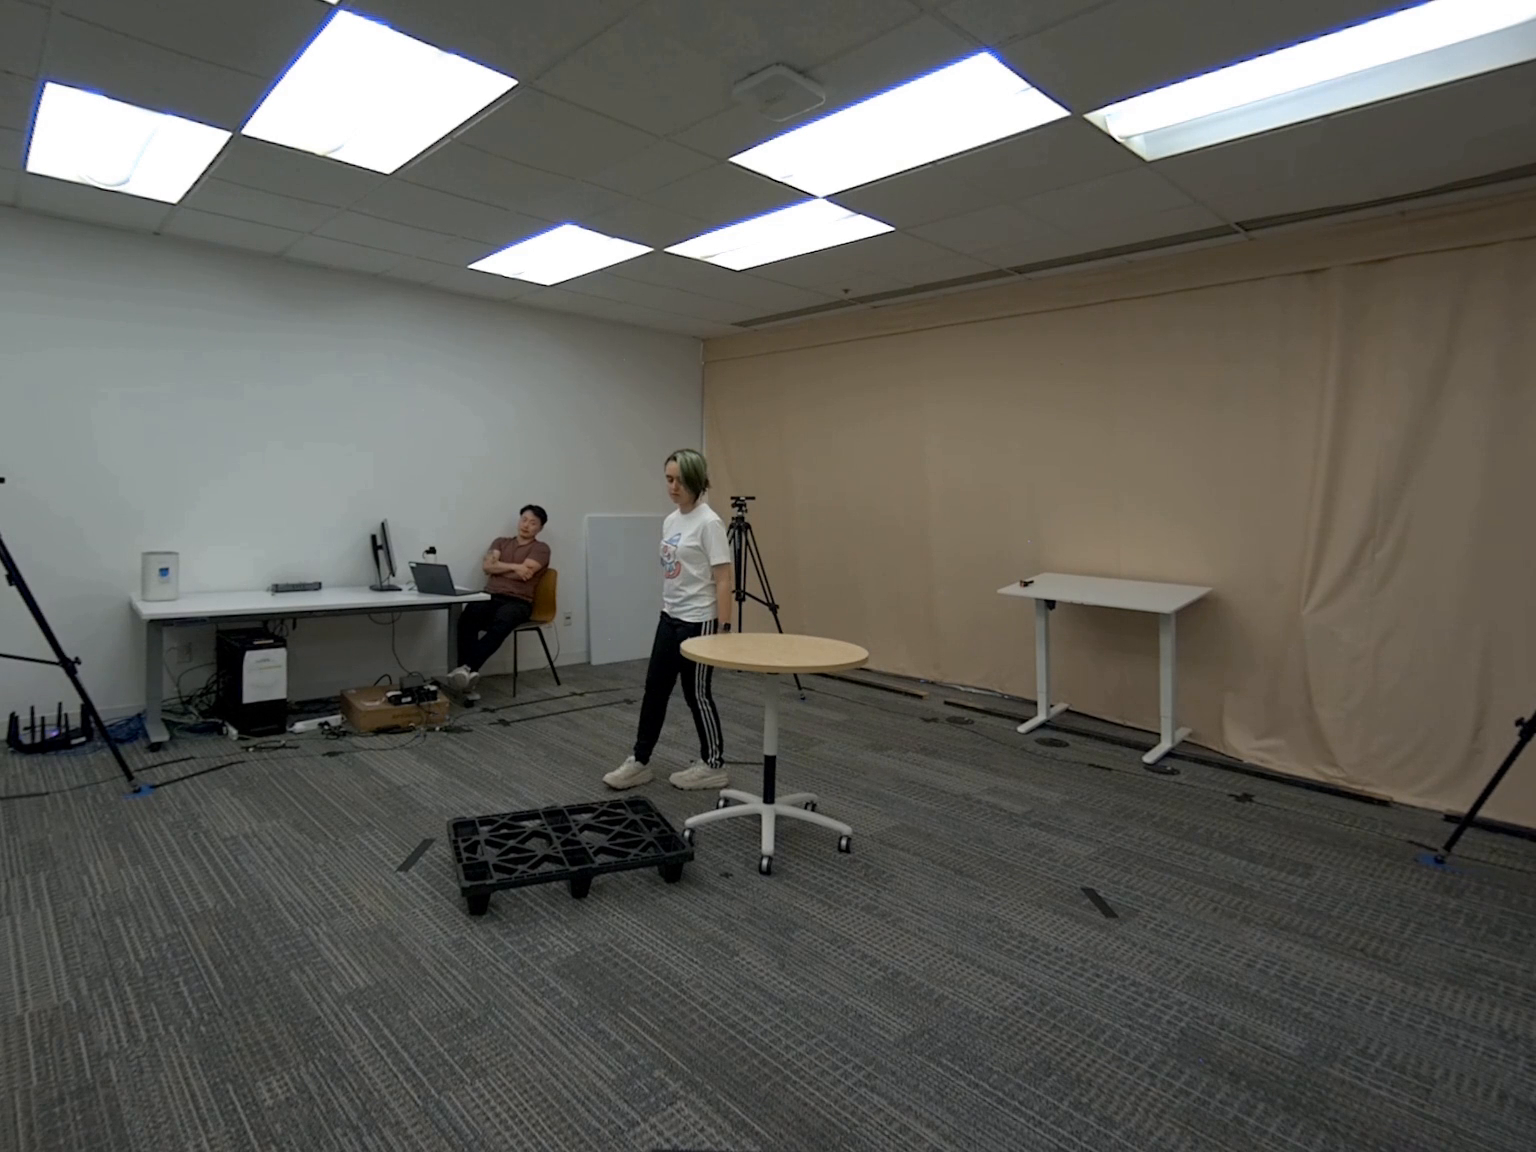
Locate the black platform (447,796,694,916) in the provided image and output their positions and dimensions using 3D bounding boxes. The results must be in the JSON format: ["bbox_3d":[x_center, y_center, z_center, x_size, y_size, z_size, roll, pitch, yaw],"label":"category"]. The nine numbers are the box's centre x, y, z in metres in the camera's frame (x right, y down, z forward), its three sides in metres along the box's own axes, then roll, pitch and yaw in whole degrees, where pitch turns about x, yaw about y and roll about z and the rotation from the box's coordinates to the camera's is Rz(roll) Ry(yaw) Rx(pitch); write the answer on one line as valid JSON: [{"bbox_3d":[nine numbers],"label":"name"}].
[{"bbox_3d":[-0.756,1.022,3.114,0.791,0.143,0.617,-1,5,-24],"label":"black platform"}]
